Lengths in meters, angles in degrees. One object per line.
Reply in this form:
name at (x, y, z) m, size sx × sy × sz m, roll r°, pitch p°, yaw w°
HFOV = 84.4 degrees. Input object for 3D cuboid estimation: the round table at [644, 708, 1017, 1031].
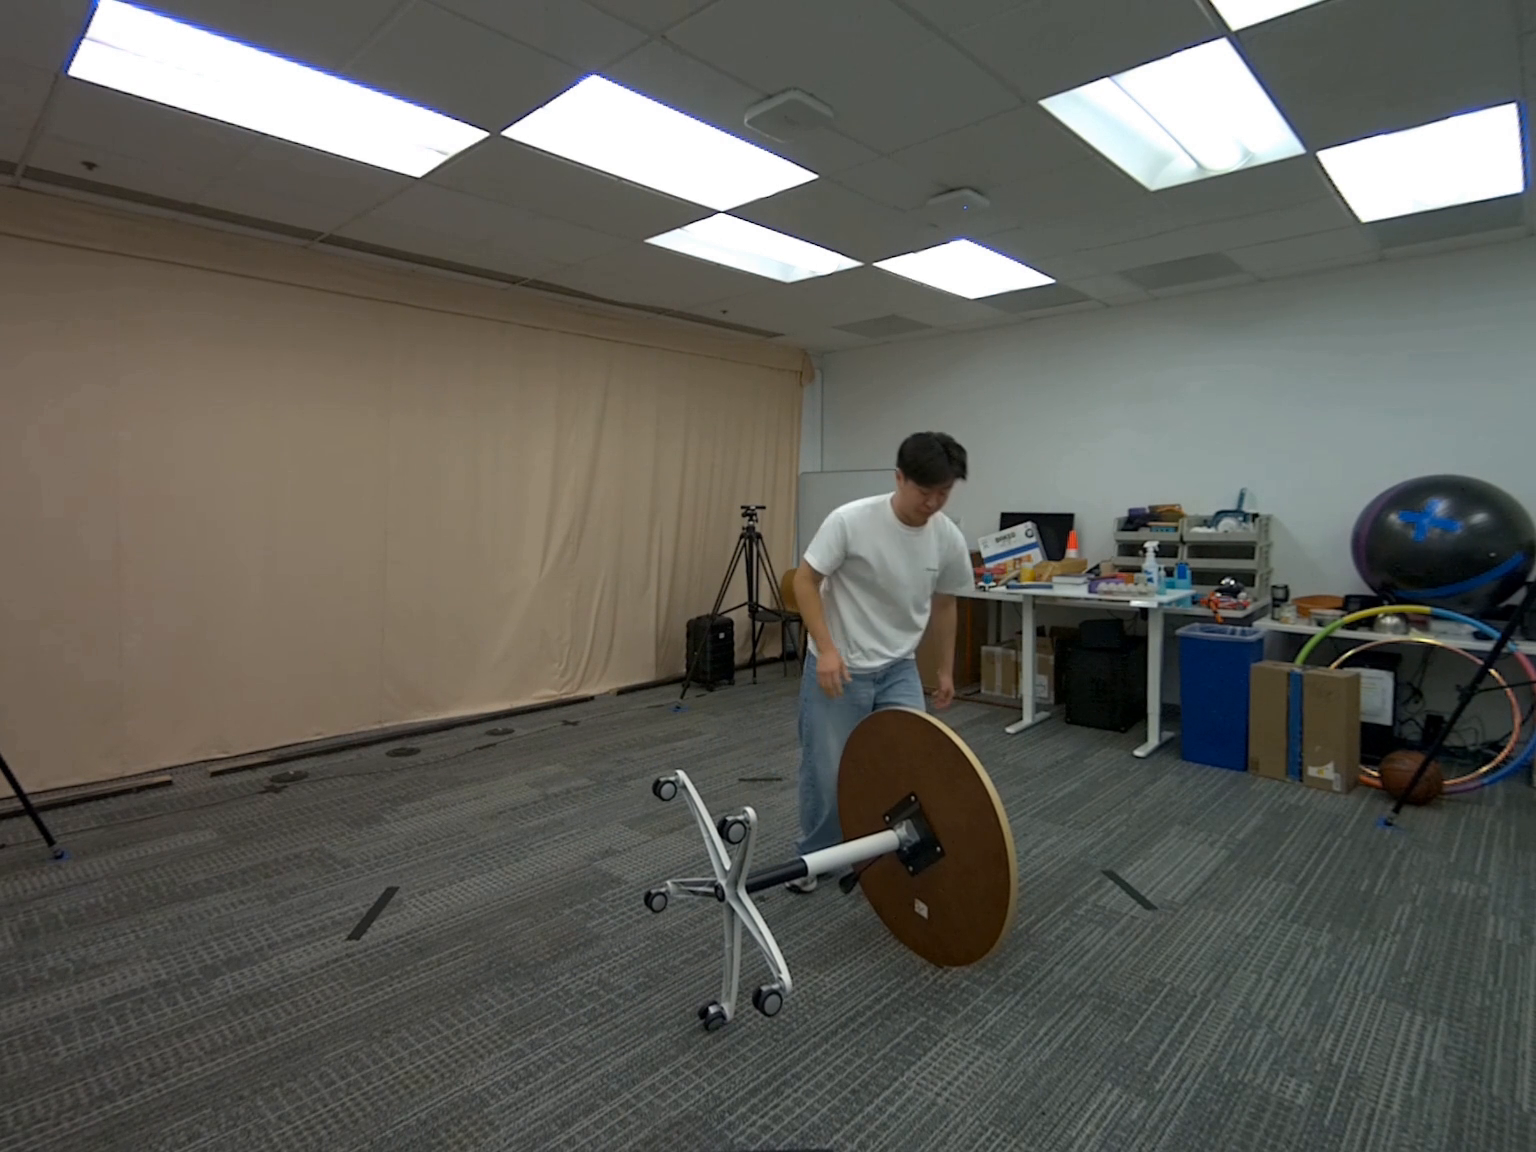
round table at (0.139, 0.833, 2.410) m, size 0.773 × 0.761 × 0.786 m, roll -6°, pitch 6°, yaw -30°
